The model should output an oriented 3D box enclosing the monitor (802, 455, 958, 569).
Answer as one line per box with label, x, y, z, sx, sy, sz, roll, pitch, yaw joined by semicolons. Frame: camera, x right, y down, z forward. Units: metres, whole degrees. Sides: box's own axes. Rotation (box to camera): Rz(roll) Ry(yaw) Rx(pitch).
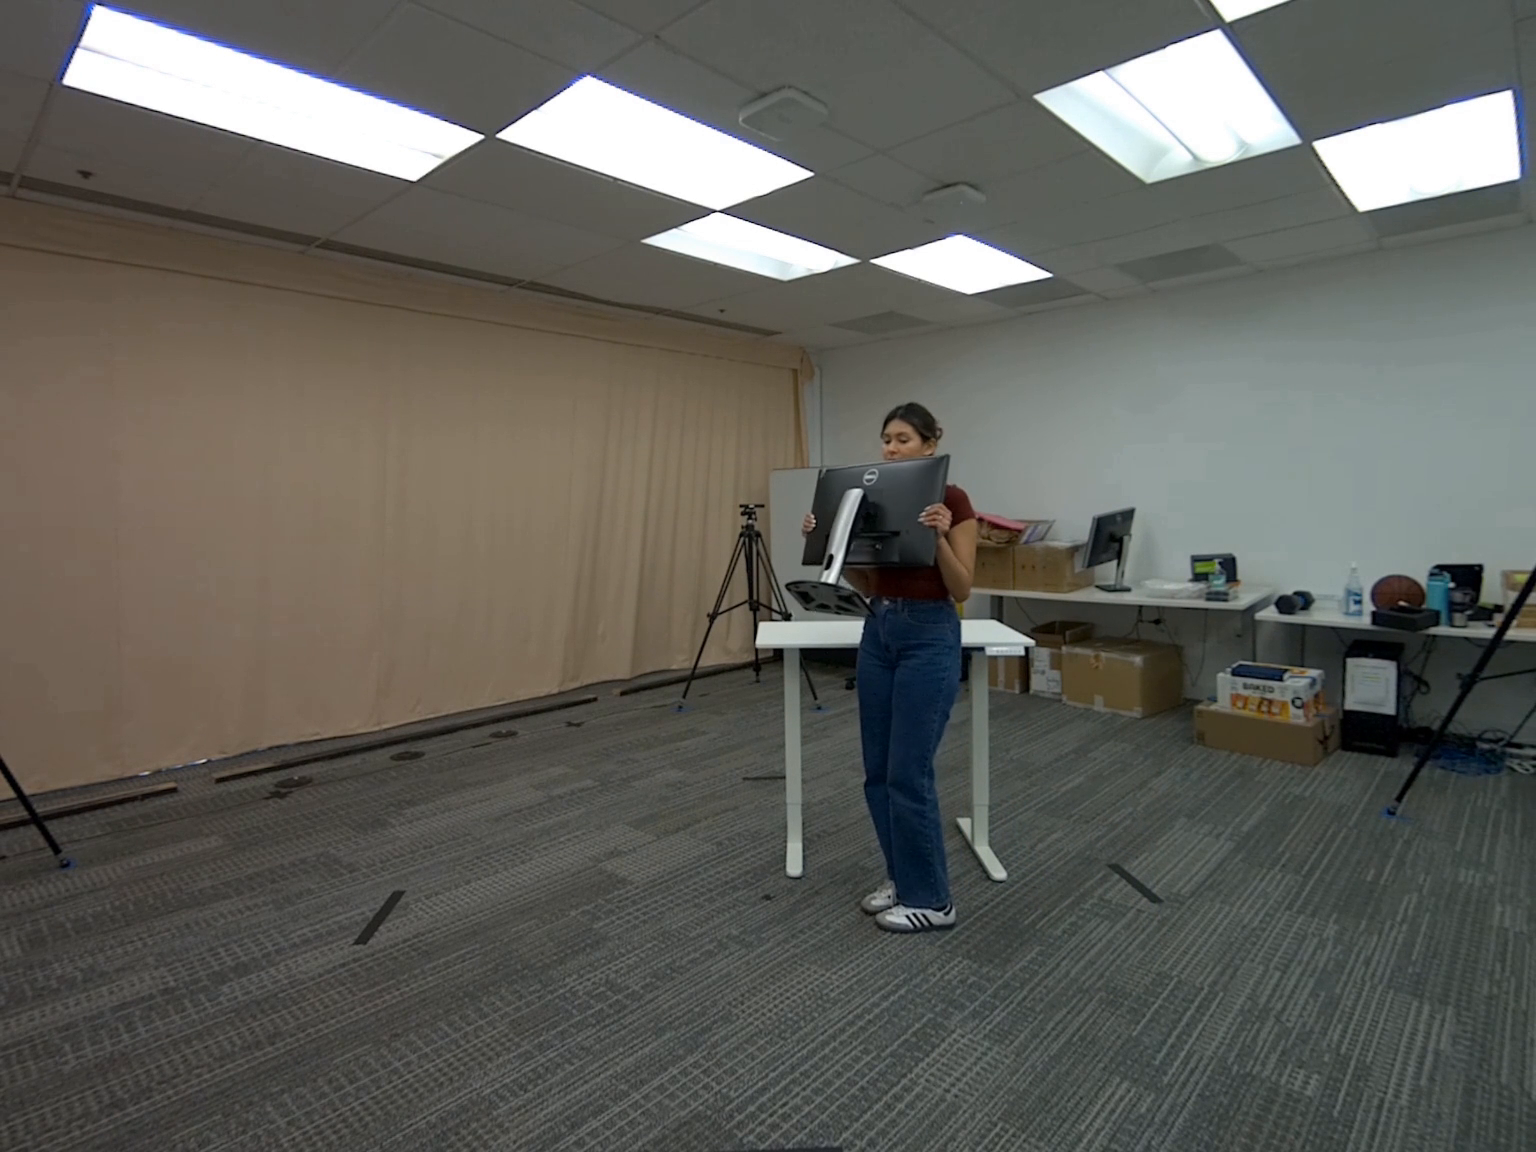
monitor;0.292;-0.134;2.680;0.557;0.524;0.180;2;-28;46
